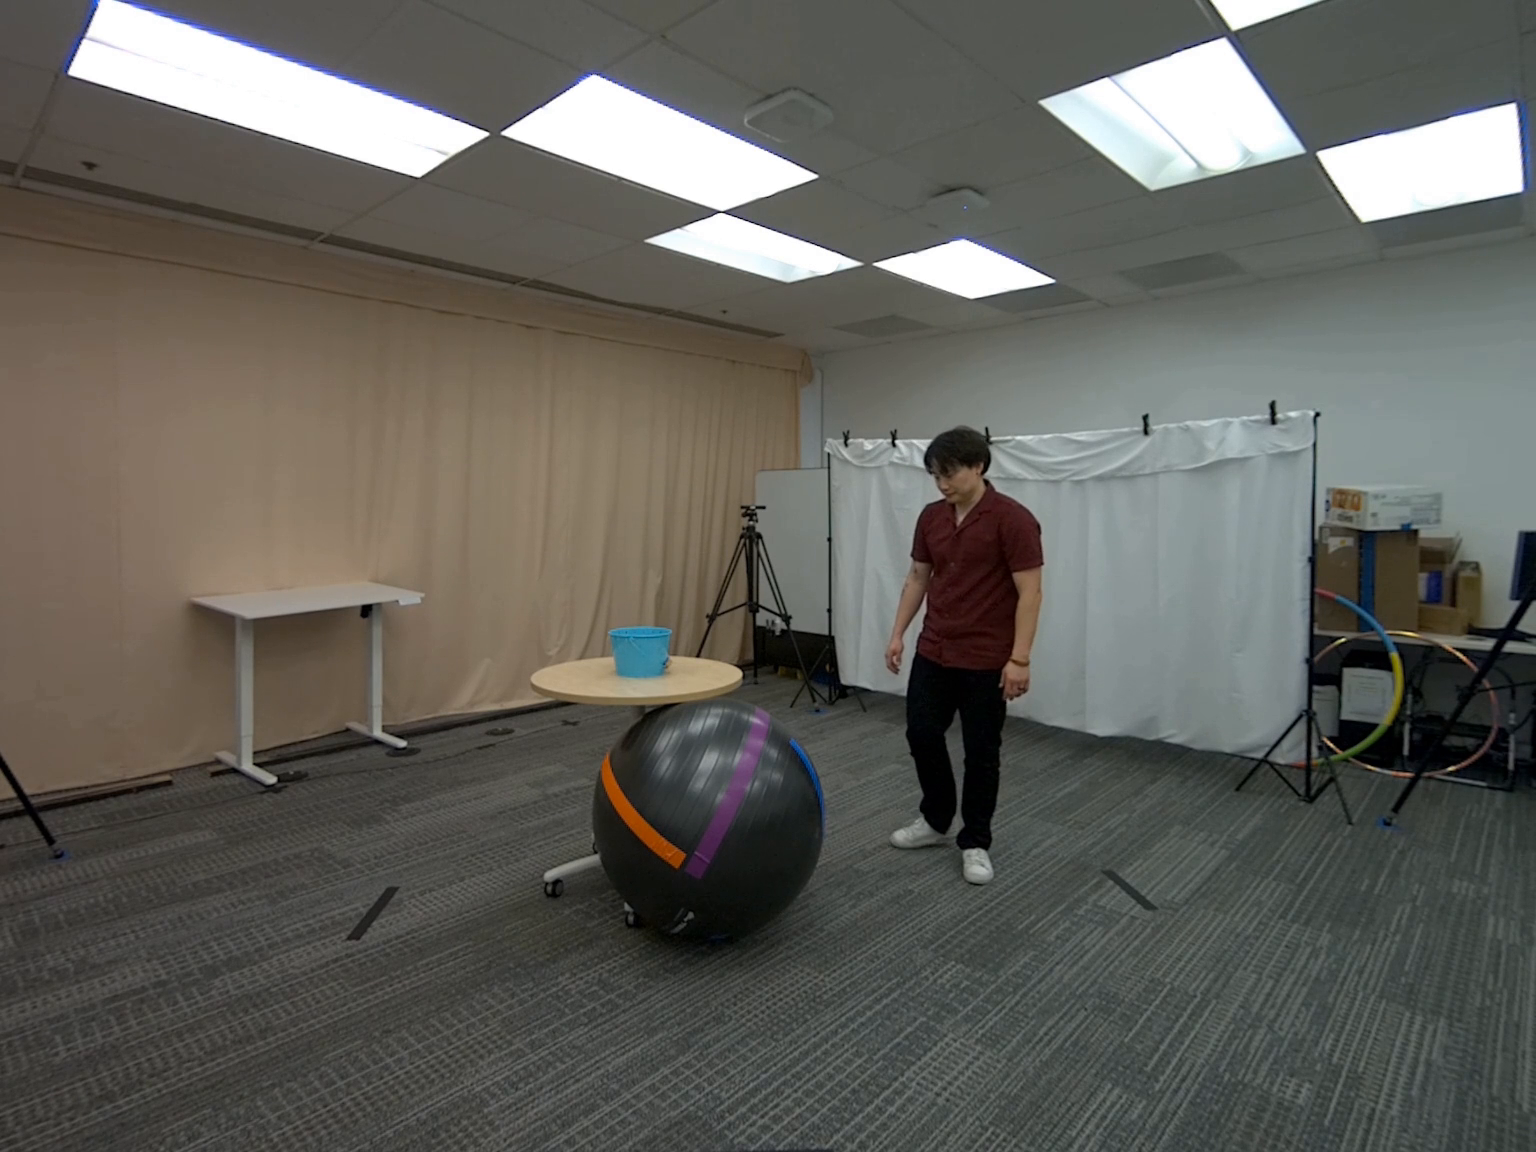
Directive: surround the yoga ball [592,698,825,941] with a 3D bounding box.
[{"bbox_3d":[-0.188,0.782,2.755,0.757,0.756,0.761,0,4,-2],"label":"yoga ball"}]
